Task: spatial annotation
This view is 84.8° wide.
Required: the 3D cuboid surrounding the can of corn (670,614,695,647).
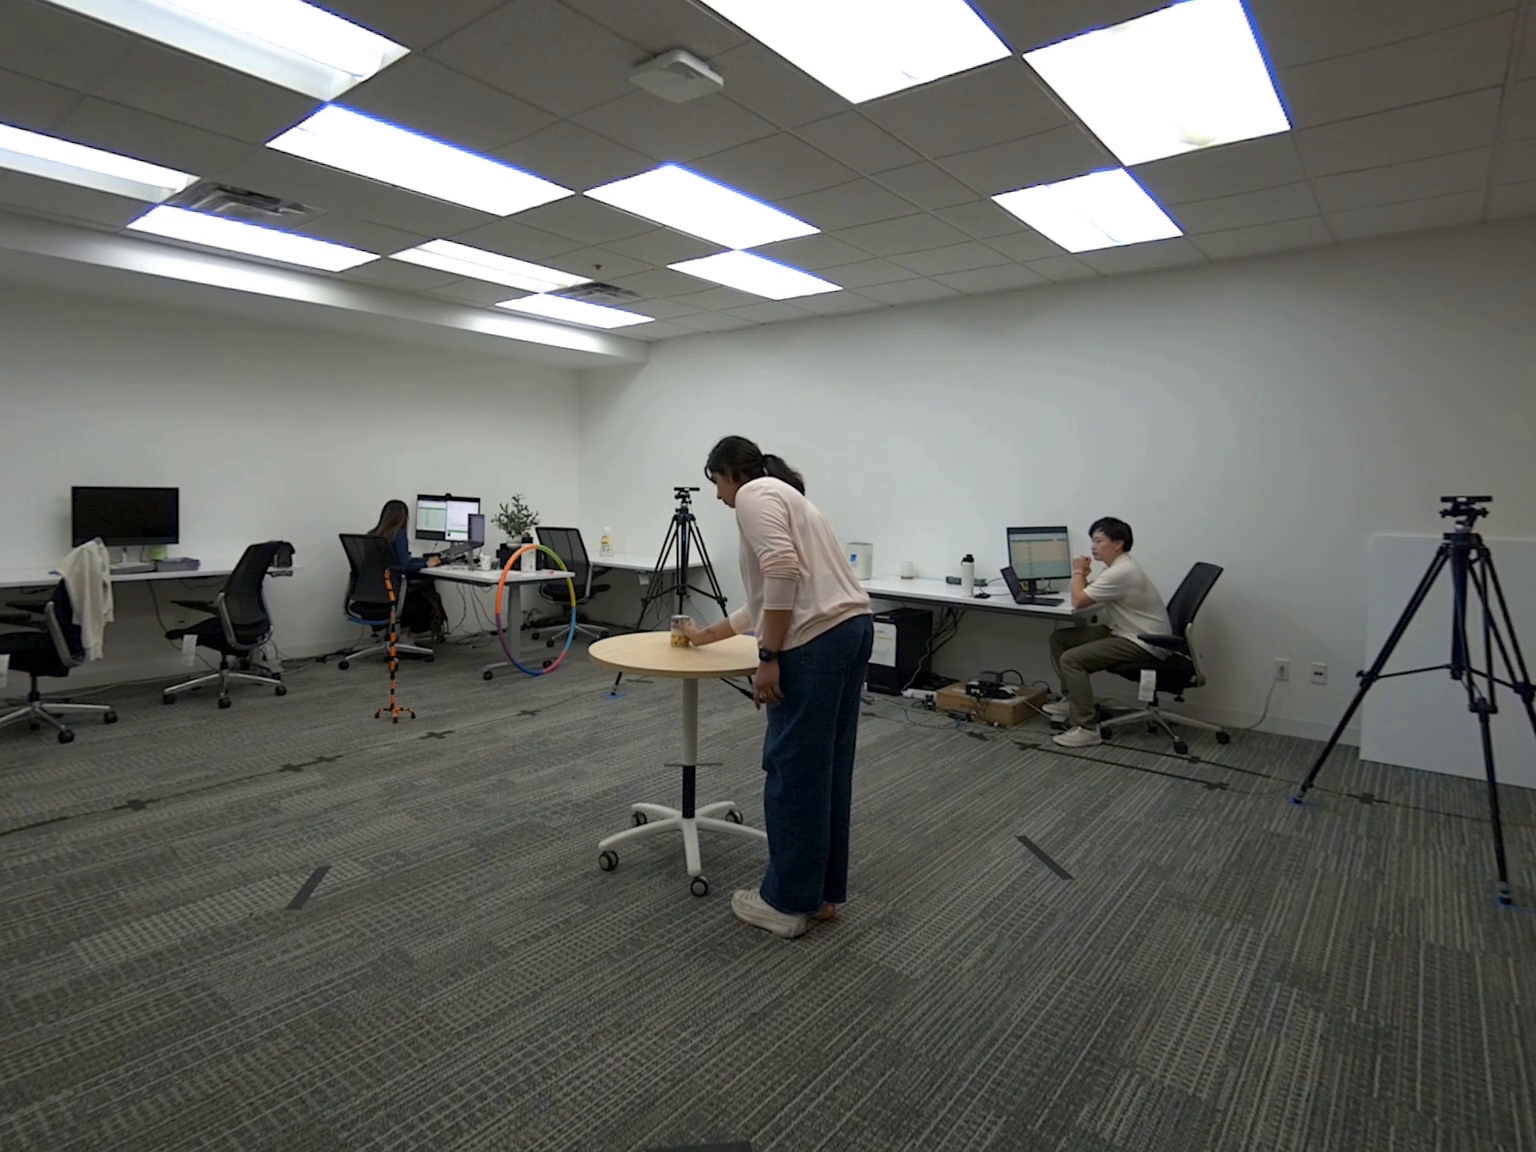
[{"bbox_3d":[-0.335,0.209,3.271,0.074,0.111,0.074,4,1,-2],"label":"can of corn"}]
